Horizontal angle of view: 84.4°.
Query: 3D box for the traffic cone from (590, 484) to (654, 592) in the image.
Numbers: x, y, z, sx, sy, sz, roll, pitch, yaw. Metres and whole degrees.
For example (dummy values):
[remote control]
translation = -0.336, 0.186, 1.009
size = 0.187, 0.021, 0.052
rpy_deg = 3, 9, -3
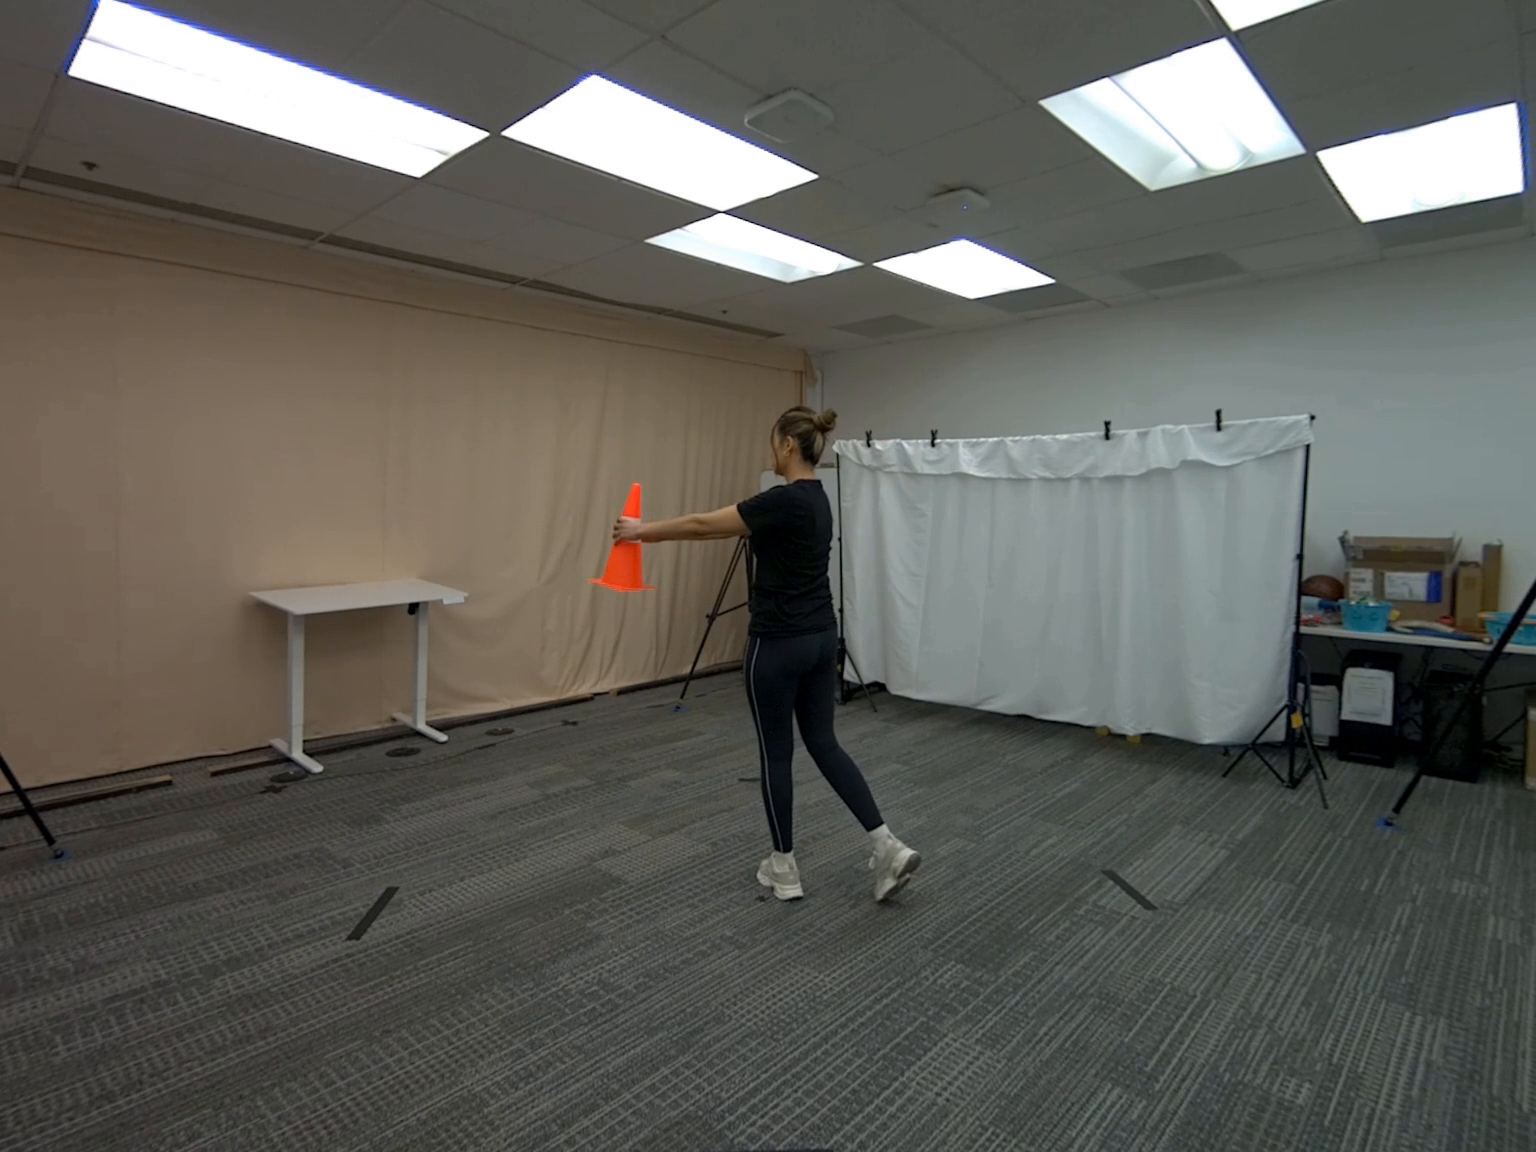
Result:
[traffic cone]
translation = -0.517, -0.156, 3.155
size = 0.210, 0.383, 0.199
rpy_deg = 10, 6, 32
